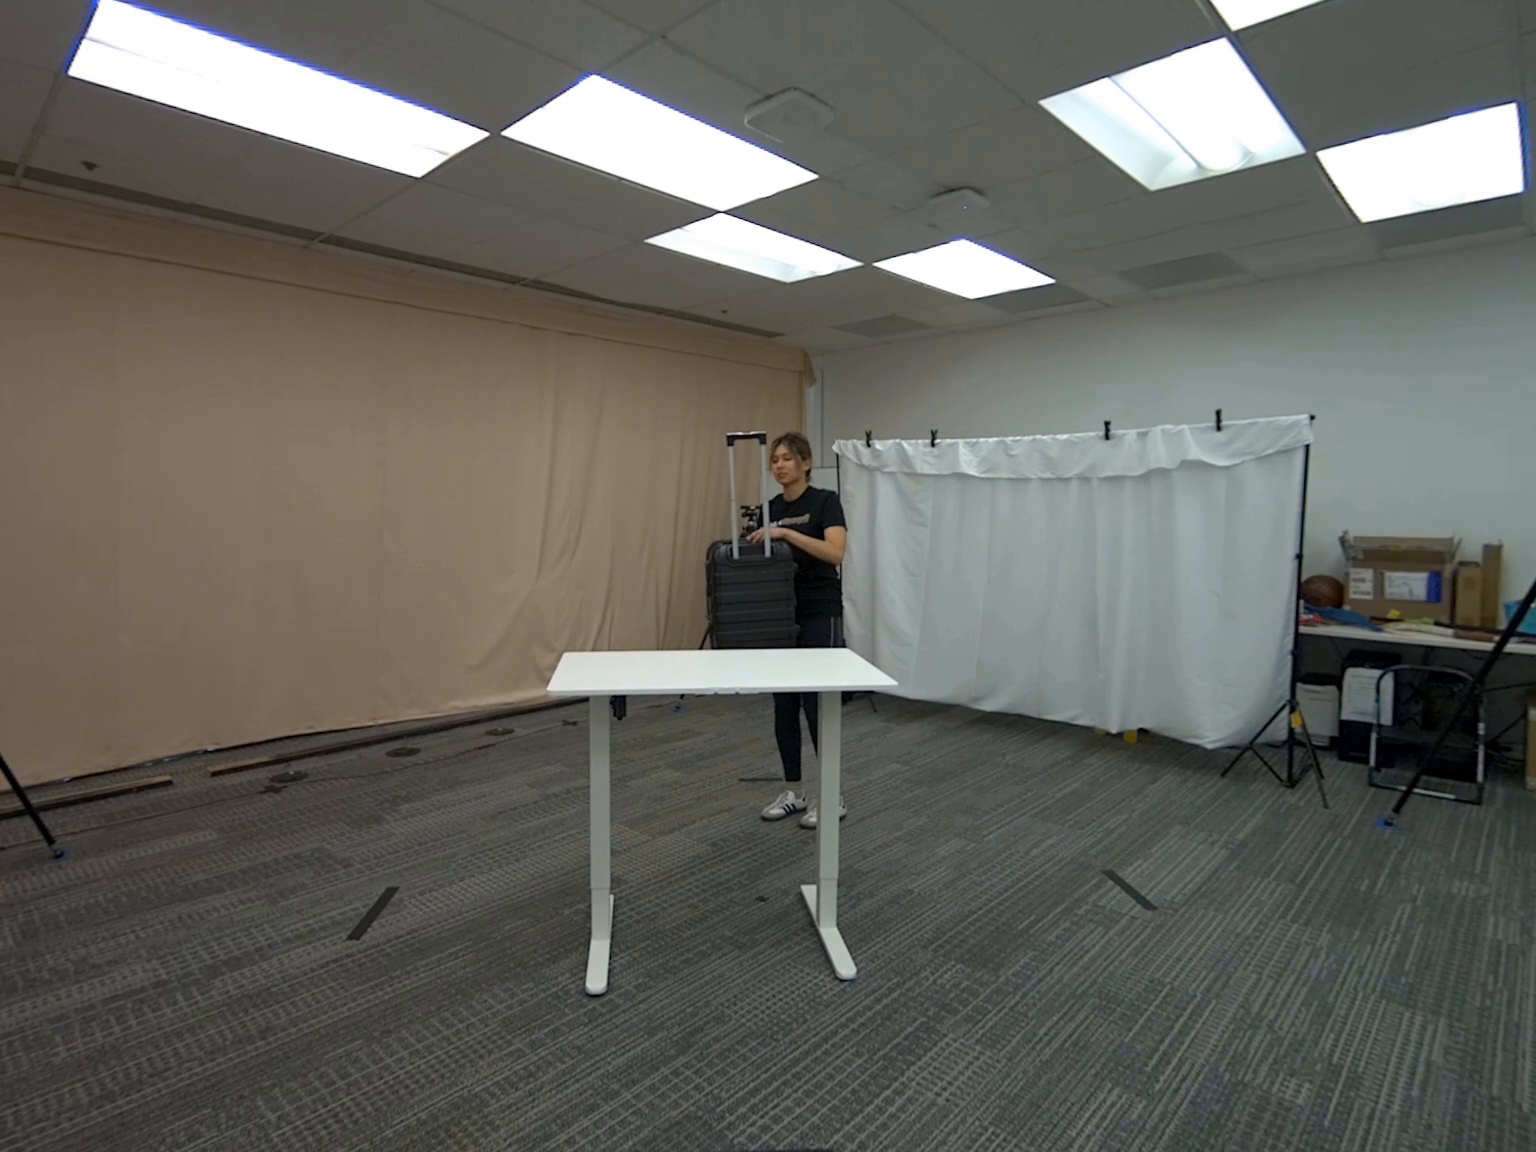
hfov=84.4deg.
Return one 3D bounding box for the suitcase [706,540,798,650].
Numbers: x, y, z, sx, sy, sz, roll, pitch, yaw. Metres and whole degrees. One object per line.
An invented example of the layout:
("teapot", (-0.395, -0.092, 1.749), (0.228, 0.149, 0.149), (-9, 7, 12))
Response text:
("suitcase", (-0.084, -0.102, 3.497), (0.383, 0.975, 0.259), (-3, 5, -4))
